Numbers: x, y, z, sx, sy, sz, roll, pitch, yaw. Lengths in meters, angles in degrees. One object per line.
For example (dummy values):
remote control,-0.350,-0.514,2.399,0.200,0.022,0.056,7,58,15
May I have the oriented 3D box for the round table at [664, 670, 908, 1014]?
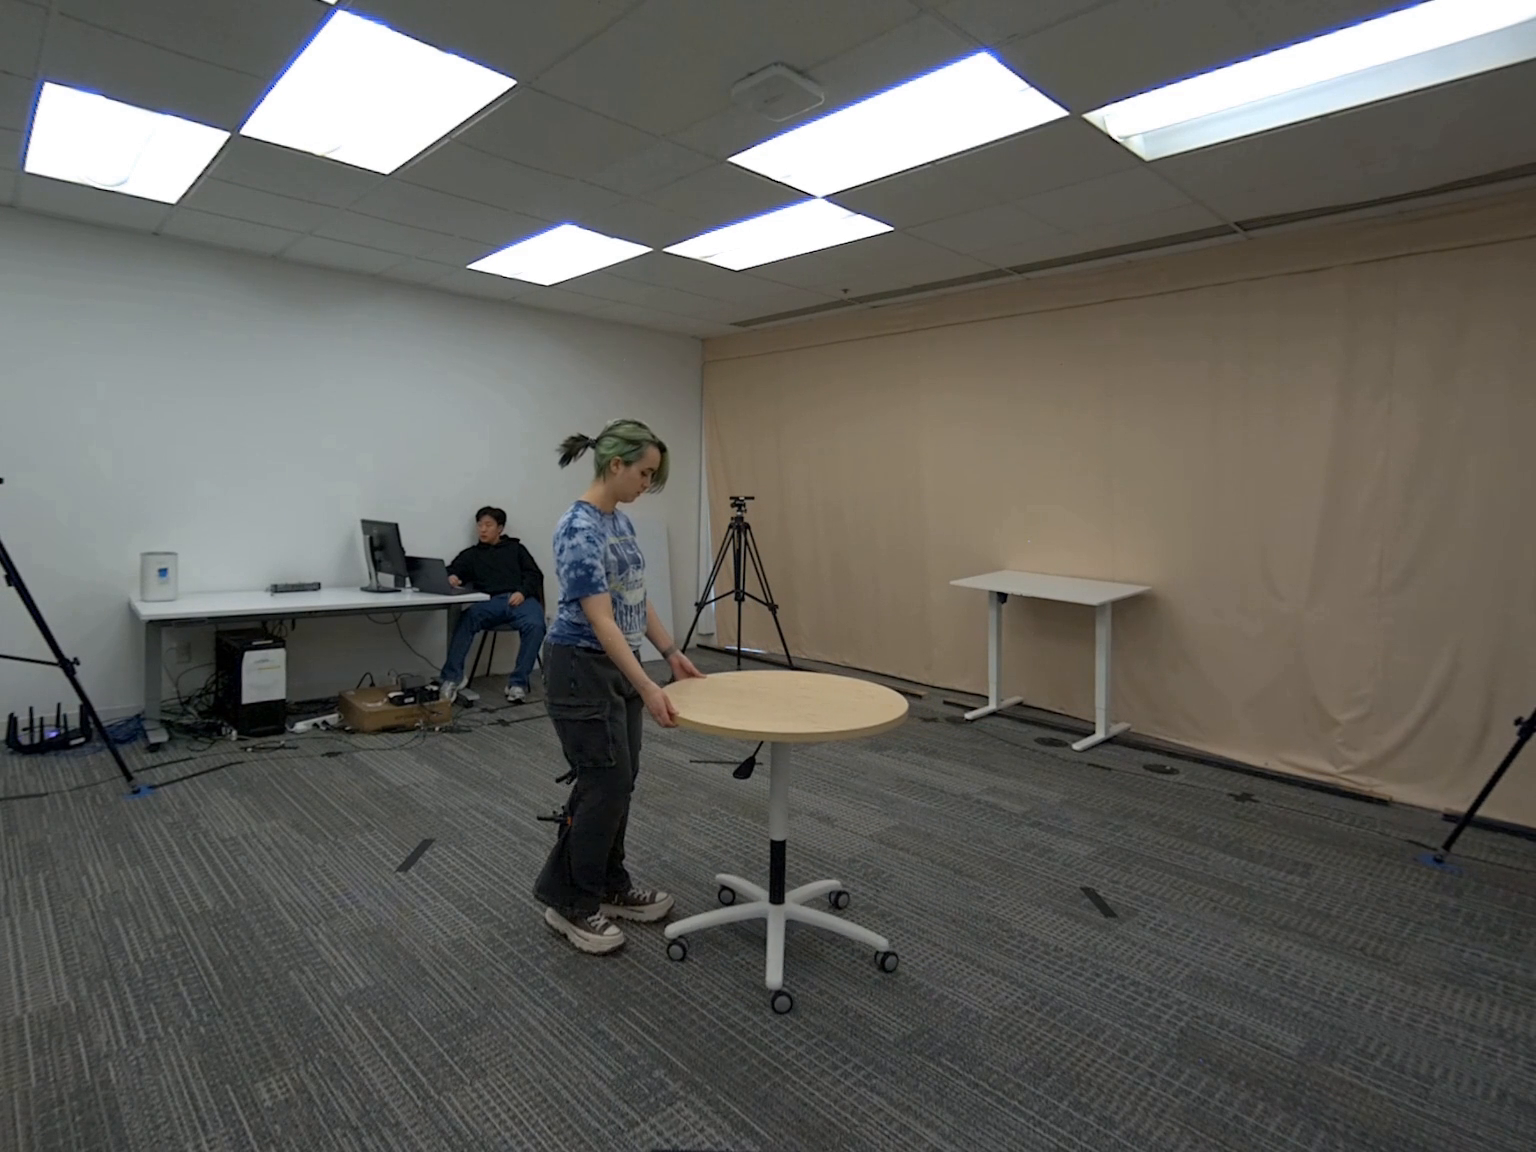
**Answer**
round table,0.035,0.764,2.605,0.763,0.791,0.767,1,4,-1
